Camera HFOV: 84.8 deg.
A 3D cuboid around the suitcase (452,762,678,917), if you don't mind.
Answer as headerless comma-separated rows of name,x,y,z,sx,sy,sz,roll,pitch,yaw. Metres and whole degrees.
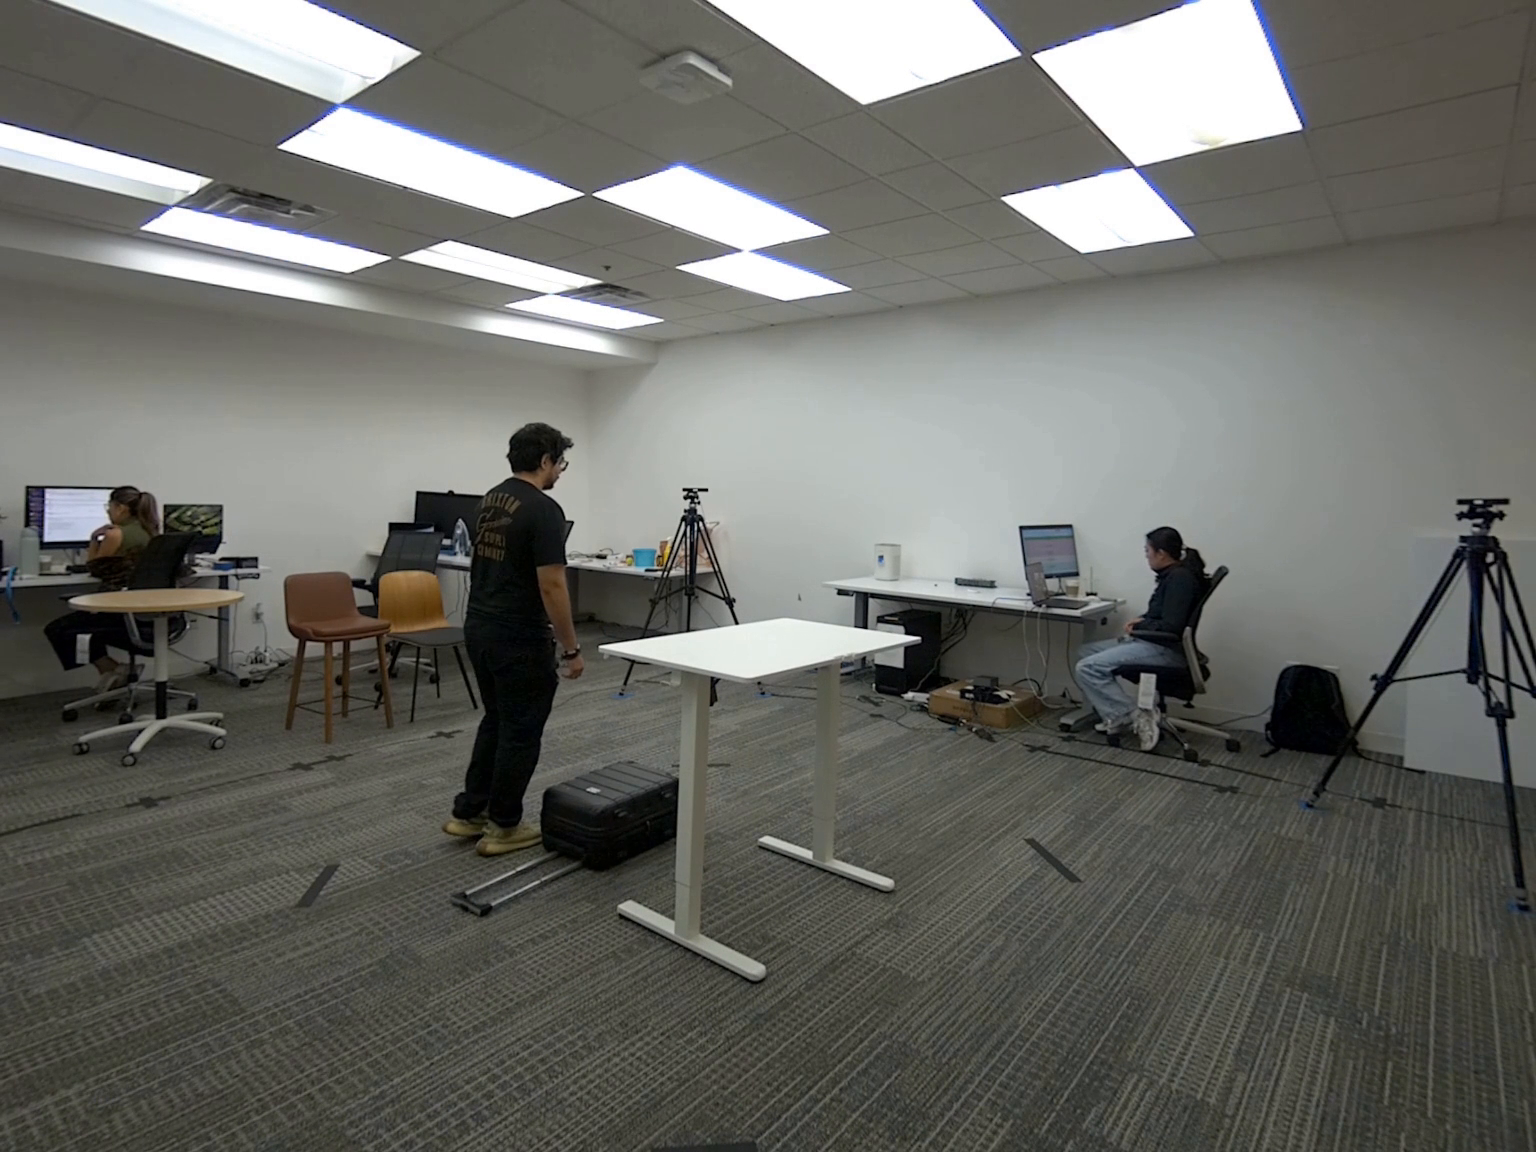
suitcase,-0.725,0.930,3.162,0.396,0.256,0.950,6,6,34
